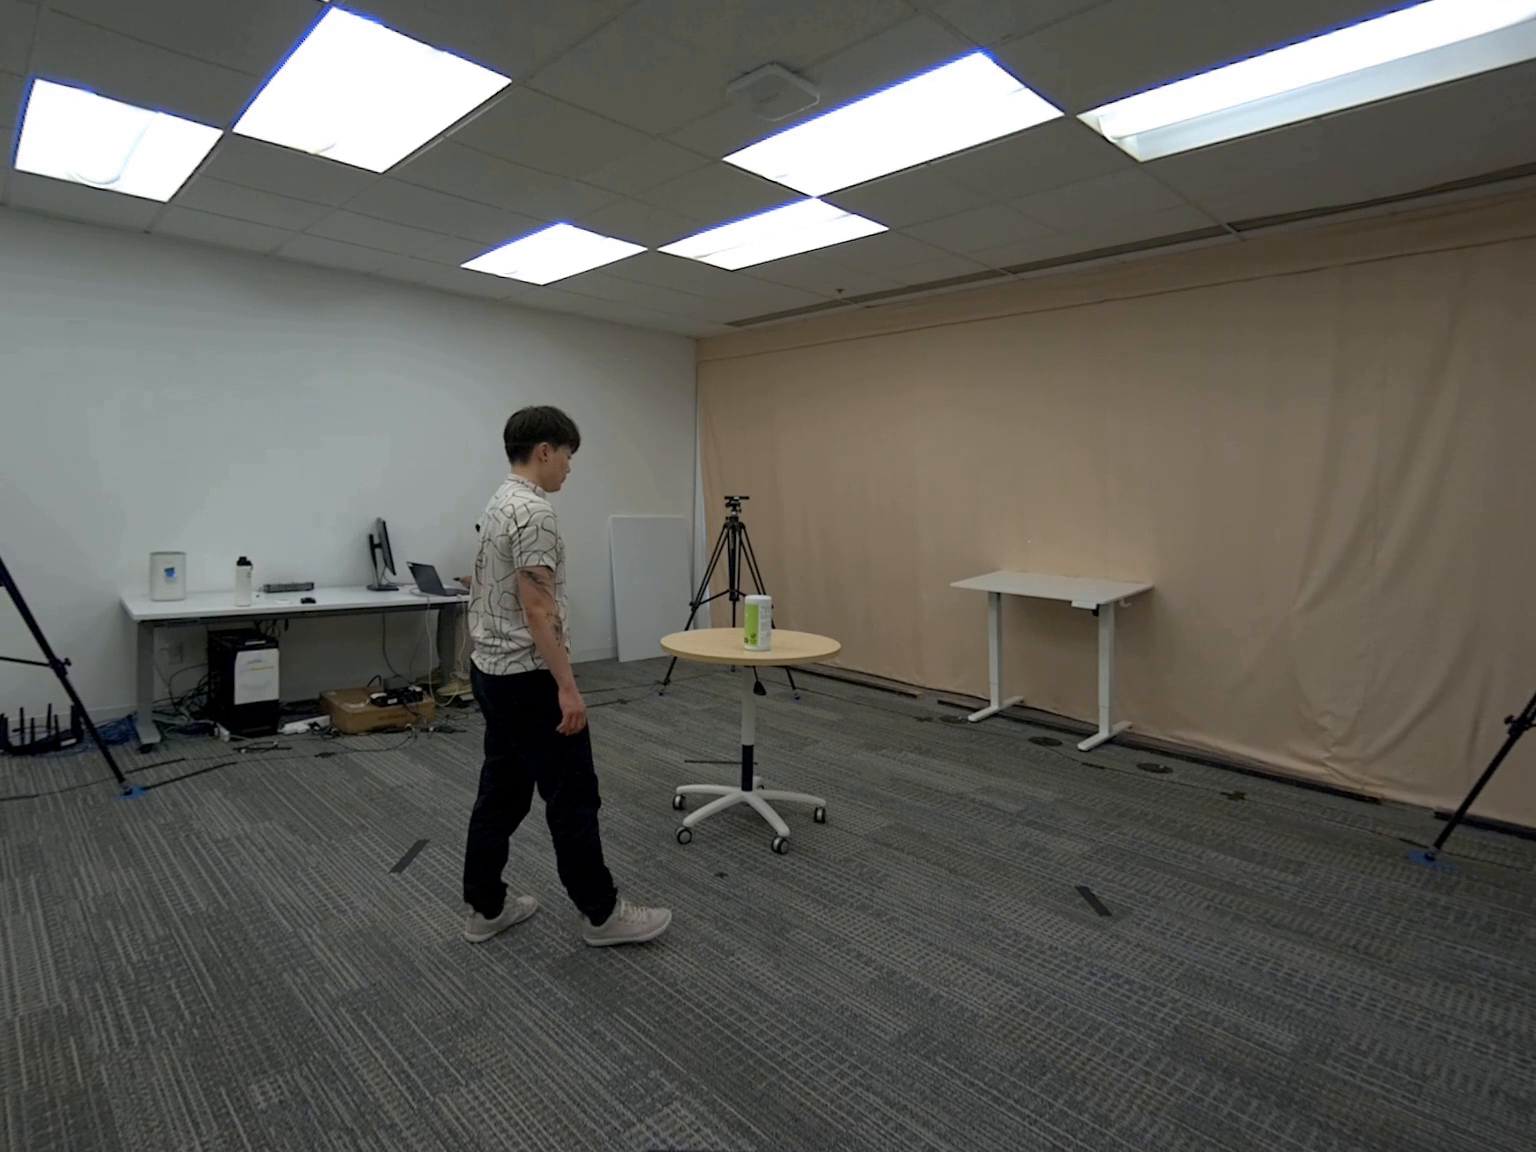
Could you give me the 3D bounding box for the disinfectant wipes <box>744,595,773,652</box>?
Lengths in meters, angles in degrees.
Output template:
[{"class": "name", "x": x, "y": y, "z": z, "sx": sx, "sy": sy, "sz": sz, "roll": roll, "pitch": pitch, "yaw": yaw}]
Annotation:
[{"class": "disinfectant wipes", "x": -0.046, "y": 0.192, "z": 3.414, "sx": 0.118, "sy": 0.217, "sz": 0.118, "roll": 1, "pitch": 4, "yaw": -1}]
